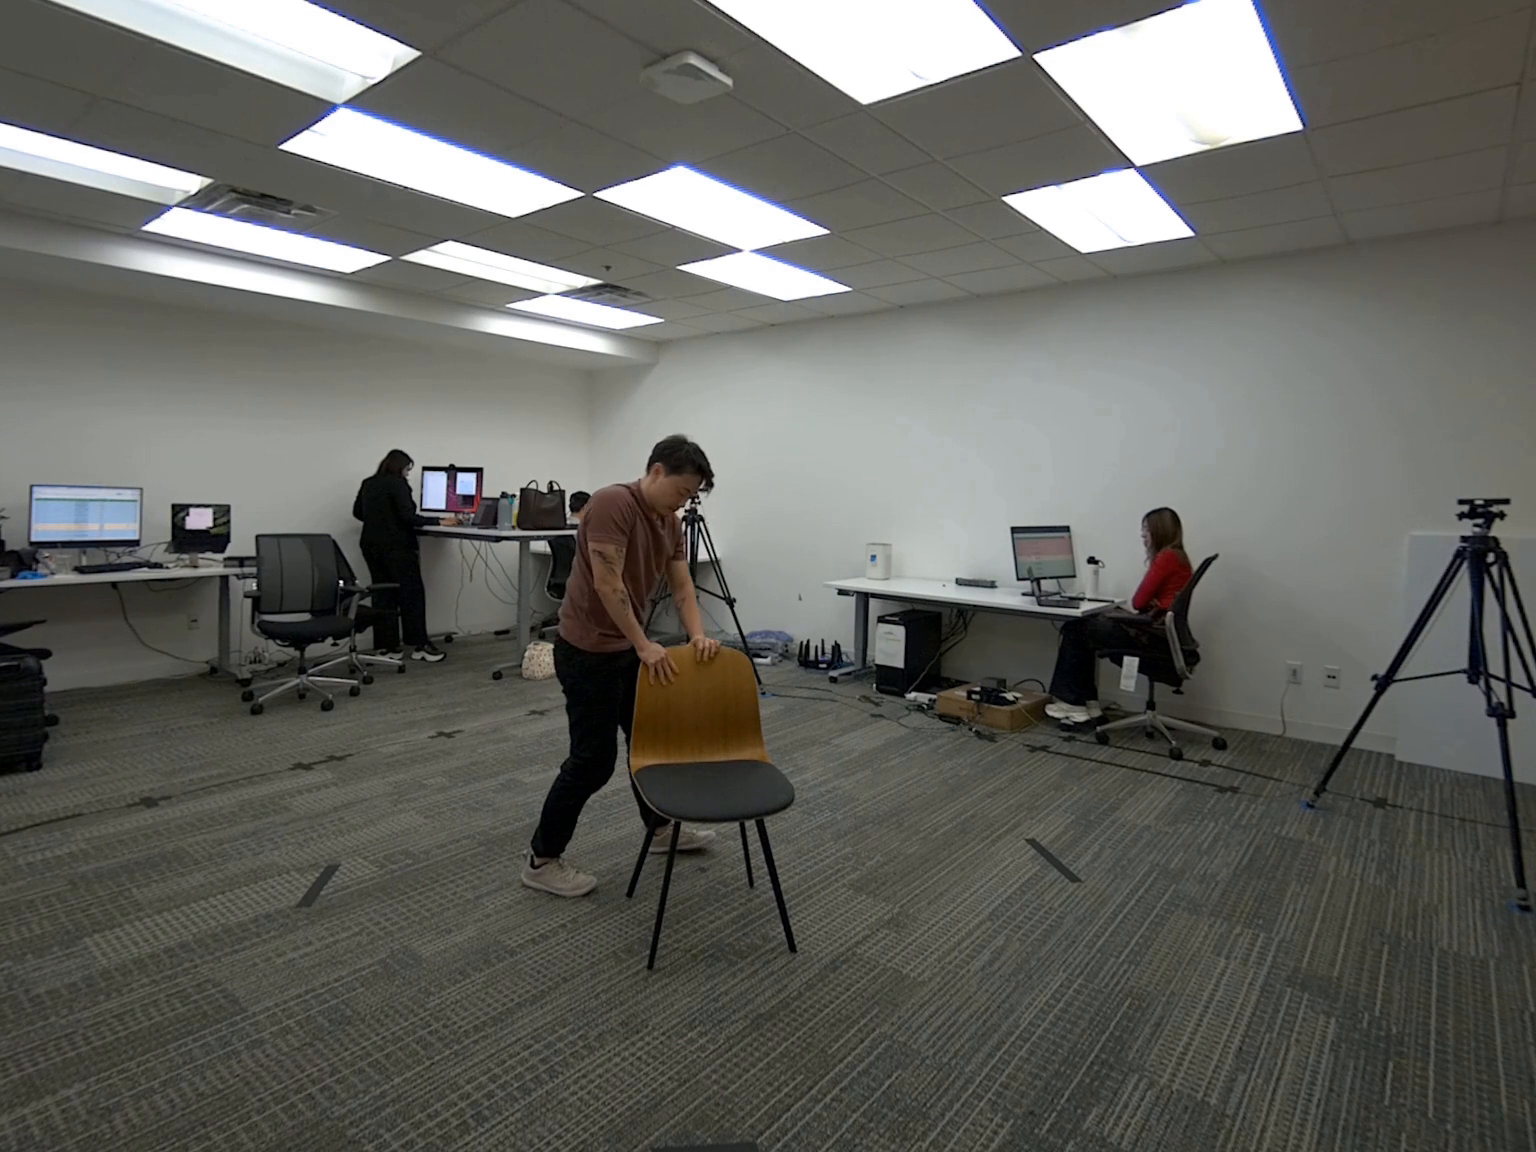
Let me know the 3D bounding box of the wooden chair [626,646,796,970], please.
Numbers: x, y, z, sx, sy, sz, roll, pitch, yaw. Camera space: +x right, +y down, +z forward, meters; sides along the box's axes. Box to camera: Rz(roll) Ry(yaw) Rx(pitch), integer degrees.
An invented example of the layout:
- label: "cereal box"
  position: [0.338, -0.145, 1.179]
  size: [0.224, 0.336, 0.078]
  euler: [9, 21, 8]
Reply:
- label: "wooden chair"
  position: [-0.189, 0.685, 2.682]
  size: [0.470, 0.878, 0.531]
  euler: [1, -1, -16]
